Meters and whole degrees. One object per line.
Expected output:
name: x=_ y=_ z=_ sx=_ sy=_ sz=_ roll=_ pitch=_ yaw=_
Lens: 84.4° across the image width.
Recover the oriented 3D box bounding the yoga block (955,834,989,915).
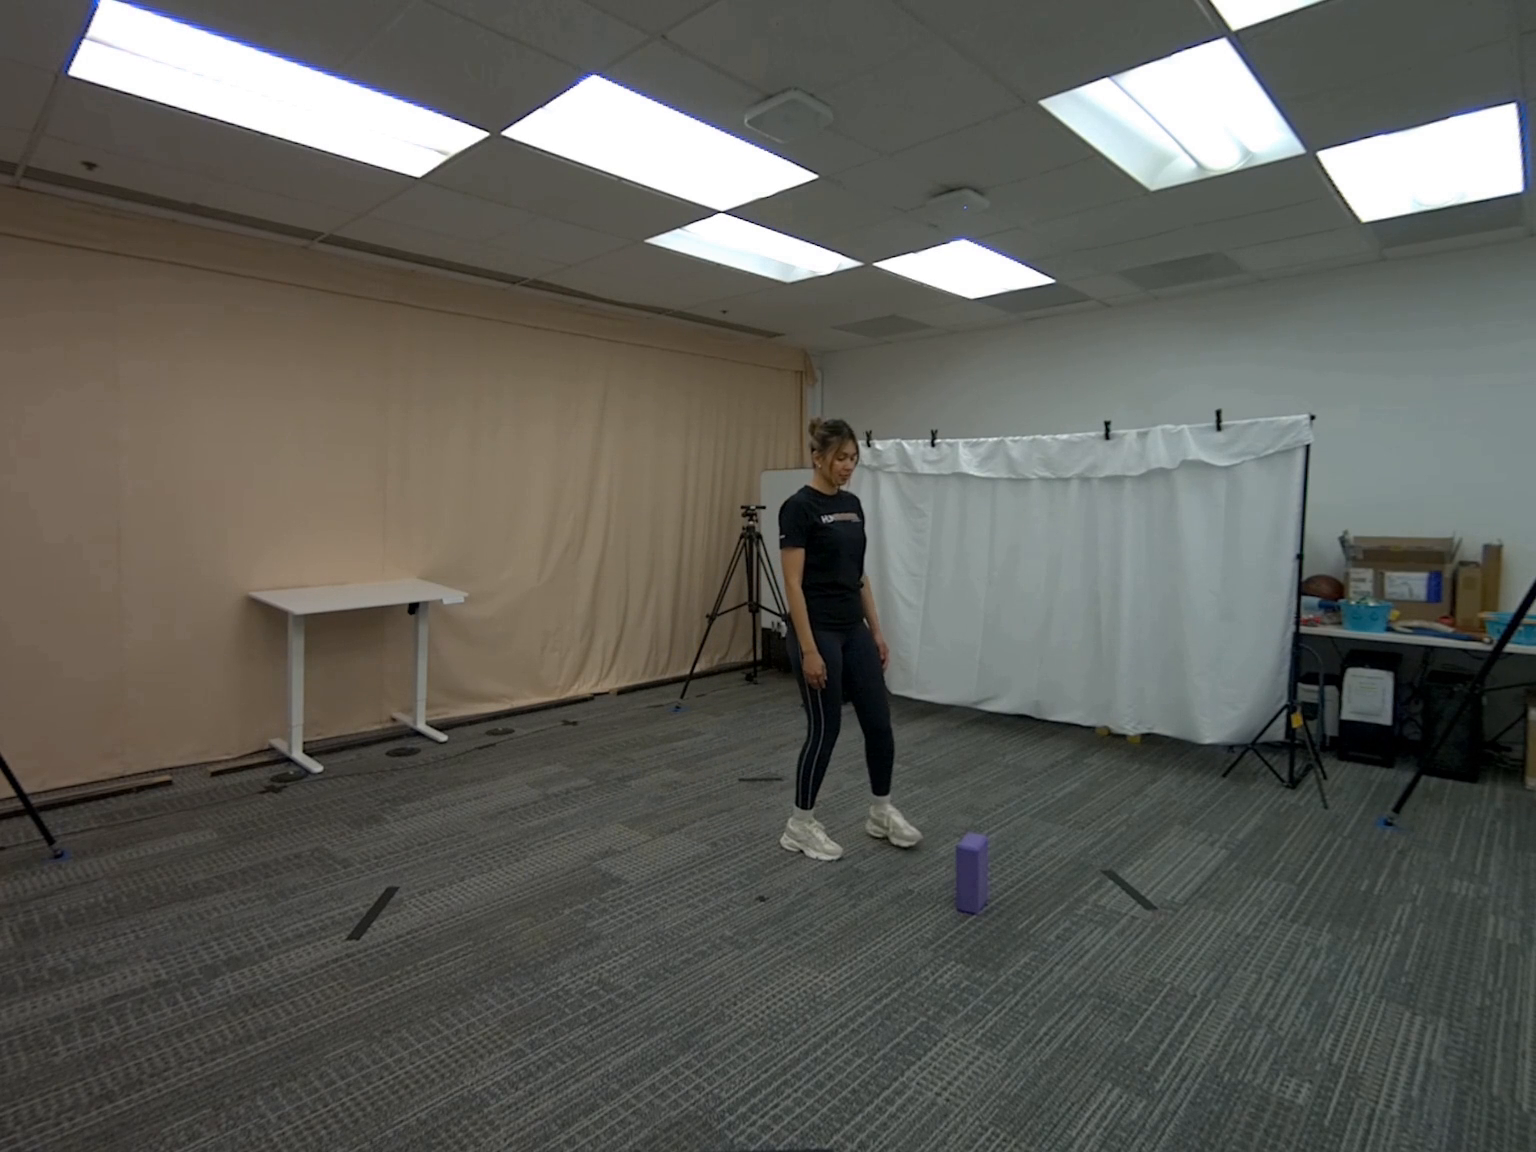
yoga block: x=0.714 y=1.028 z=2.921 sx=0.078 sy=0.229 sz=0.145 roll=-1 pitch=3 yaw=28
